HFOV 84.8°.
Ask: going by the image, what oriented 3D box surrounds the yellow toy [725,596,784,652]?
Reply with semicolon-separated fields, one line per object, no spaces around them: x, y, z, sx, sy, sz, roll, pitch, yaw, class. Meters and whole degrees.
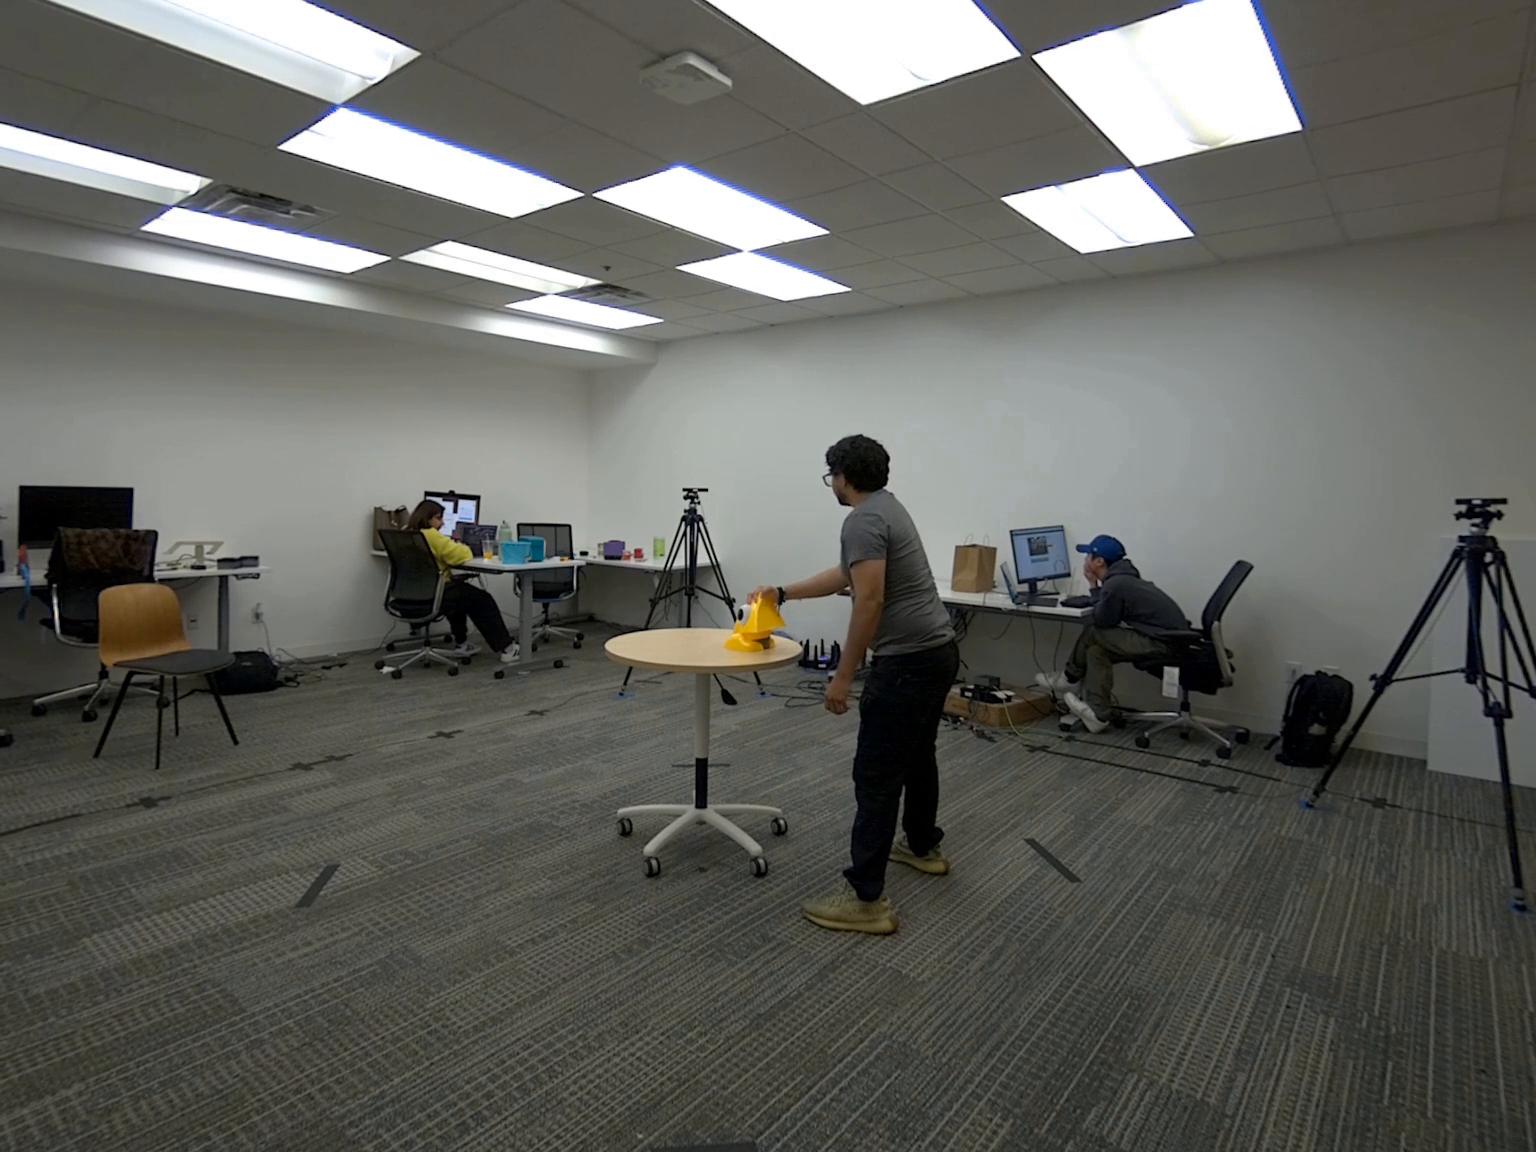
-0.069;0.158;3.296;0.199;0.230;0.199;4;5;35;yellow toy
